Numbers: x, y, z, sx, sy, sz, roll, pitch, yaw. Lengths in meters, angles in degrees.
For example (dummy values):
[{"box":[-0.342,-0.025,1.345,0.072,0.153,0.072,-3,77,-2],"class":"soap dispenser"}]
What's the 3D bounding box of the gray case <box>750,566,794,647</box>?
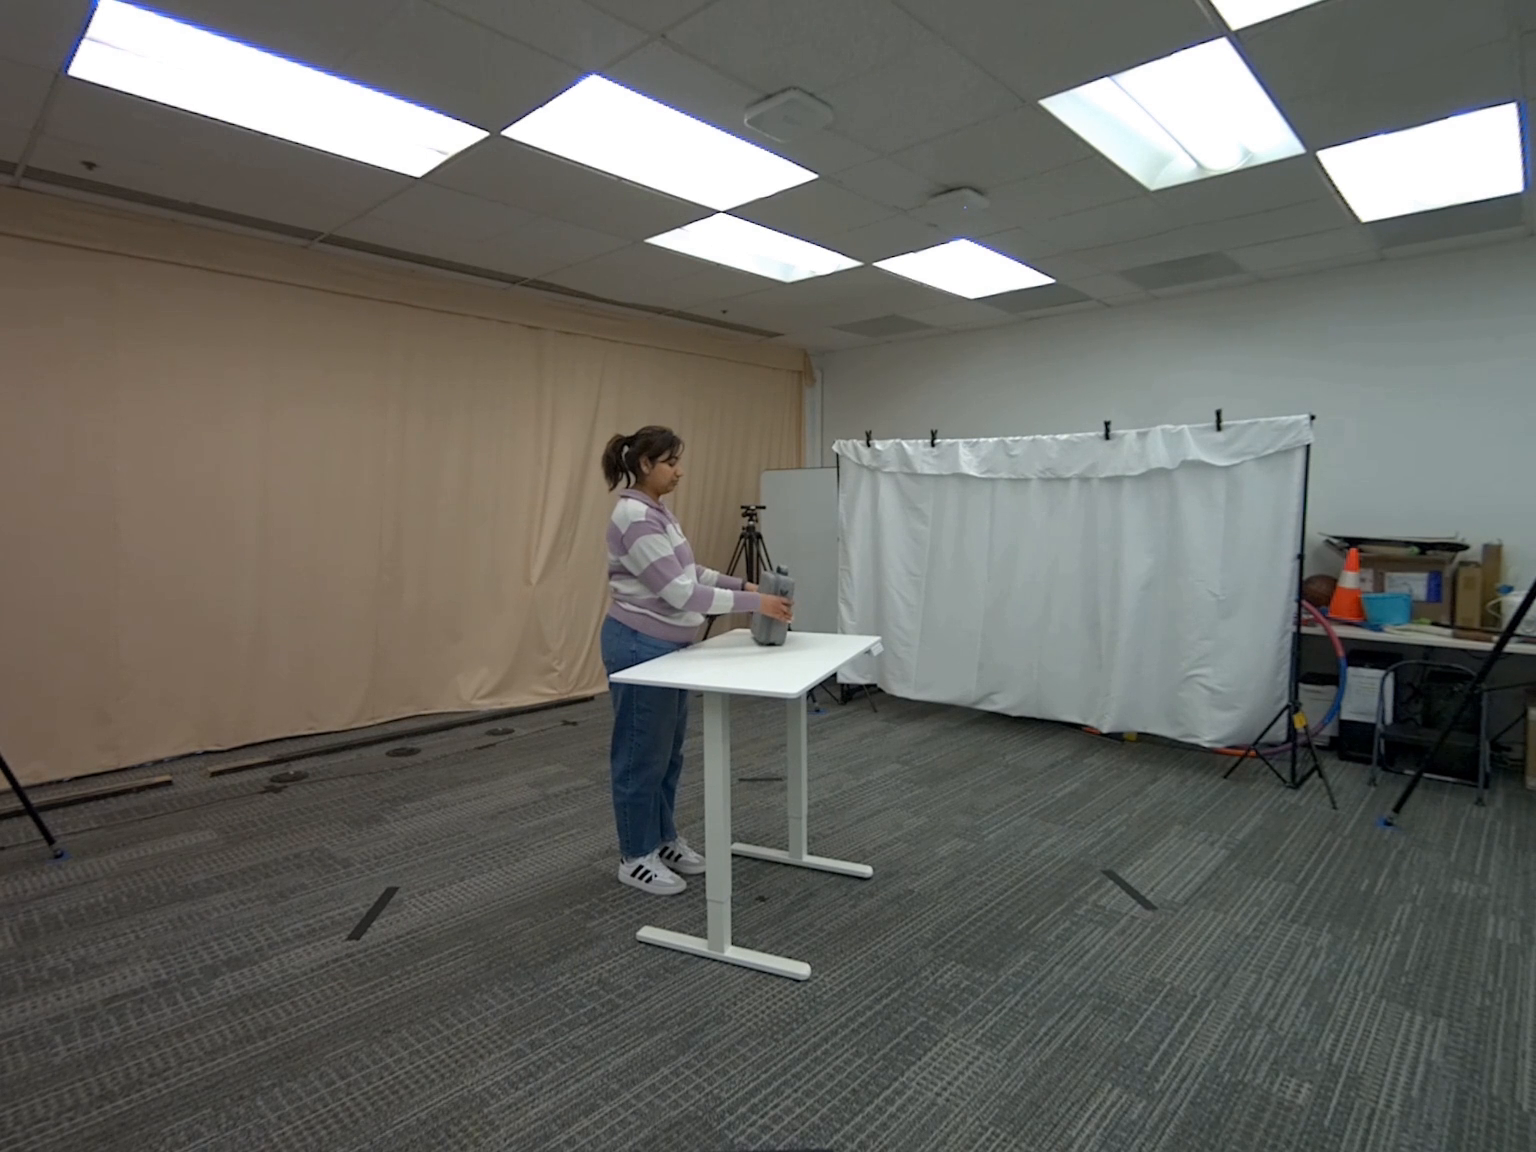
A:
[{"box":[0.016,0.118,3.132,0.103,0.260,0.259,9,5,-7],"class":"gray case"}]
